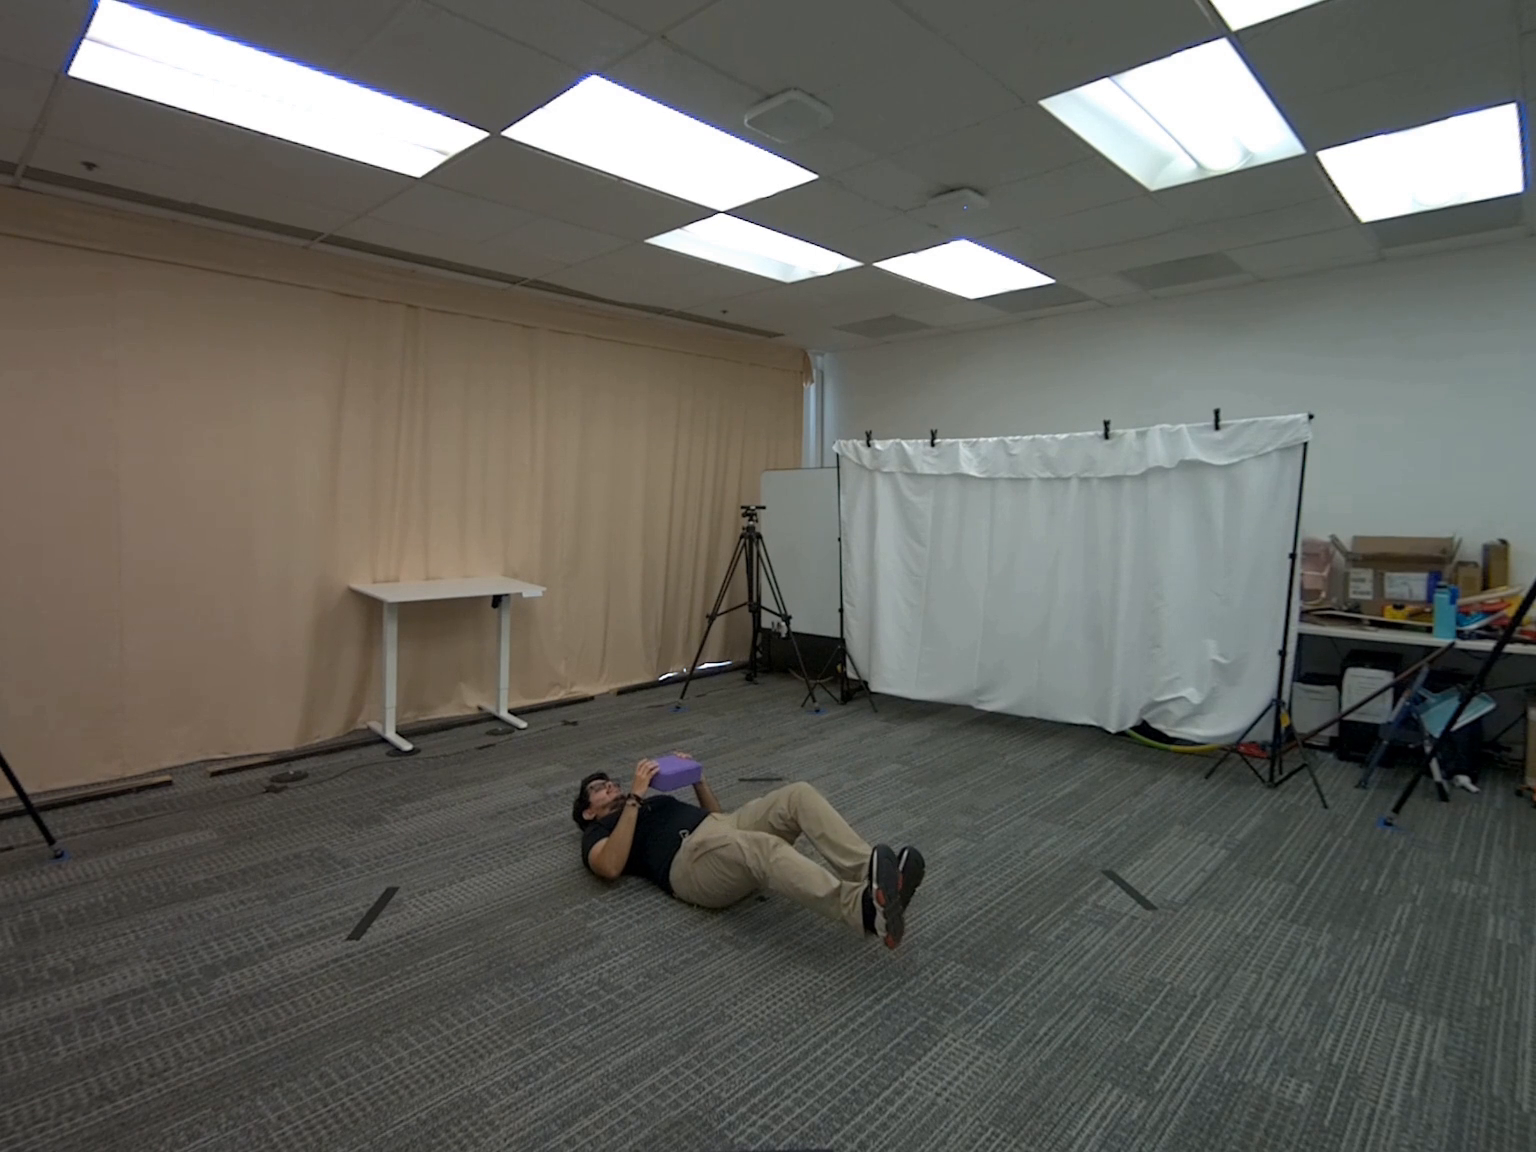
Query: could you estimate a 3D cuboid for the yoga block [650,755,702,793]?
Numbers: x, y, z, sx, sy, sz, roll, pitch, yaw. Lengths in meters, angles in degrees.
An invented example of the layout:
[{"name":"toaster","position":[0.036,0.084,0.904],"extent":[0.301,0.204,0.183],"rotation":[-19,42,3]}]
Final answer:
[{"name":"yoga block","position":[-0.379,0.757,3.224],"extent":[0.154,0.076,0.222],"rotation":[8,3,34]}]
